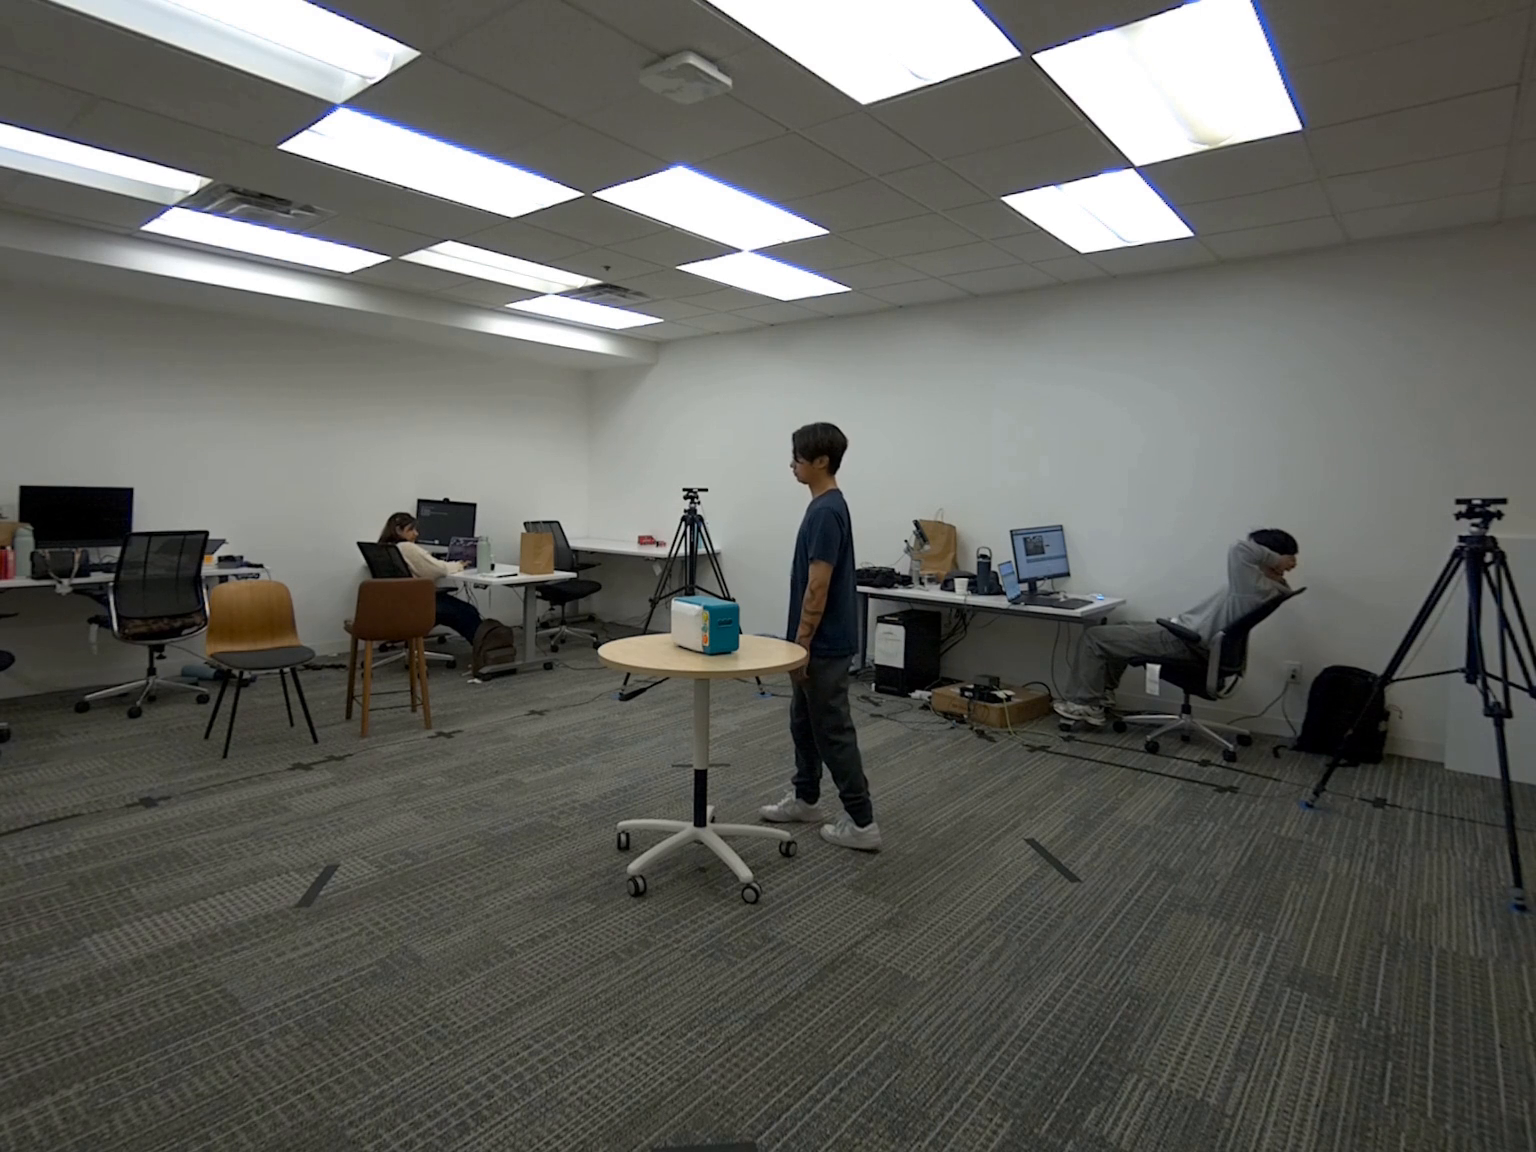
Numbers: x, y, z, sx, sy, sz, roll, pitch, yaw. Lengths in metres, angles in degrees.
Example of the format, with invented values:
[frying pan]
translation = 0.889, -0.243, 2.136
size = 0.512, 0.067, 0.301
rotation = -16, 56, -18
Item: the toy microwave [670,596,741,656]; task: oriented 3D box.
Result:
[toy microwave]
translation = -0.251, 0.176, 3.131
size = 0.148, 0.183, 0.295
rotation = -2, 6, -34
